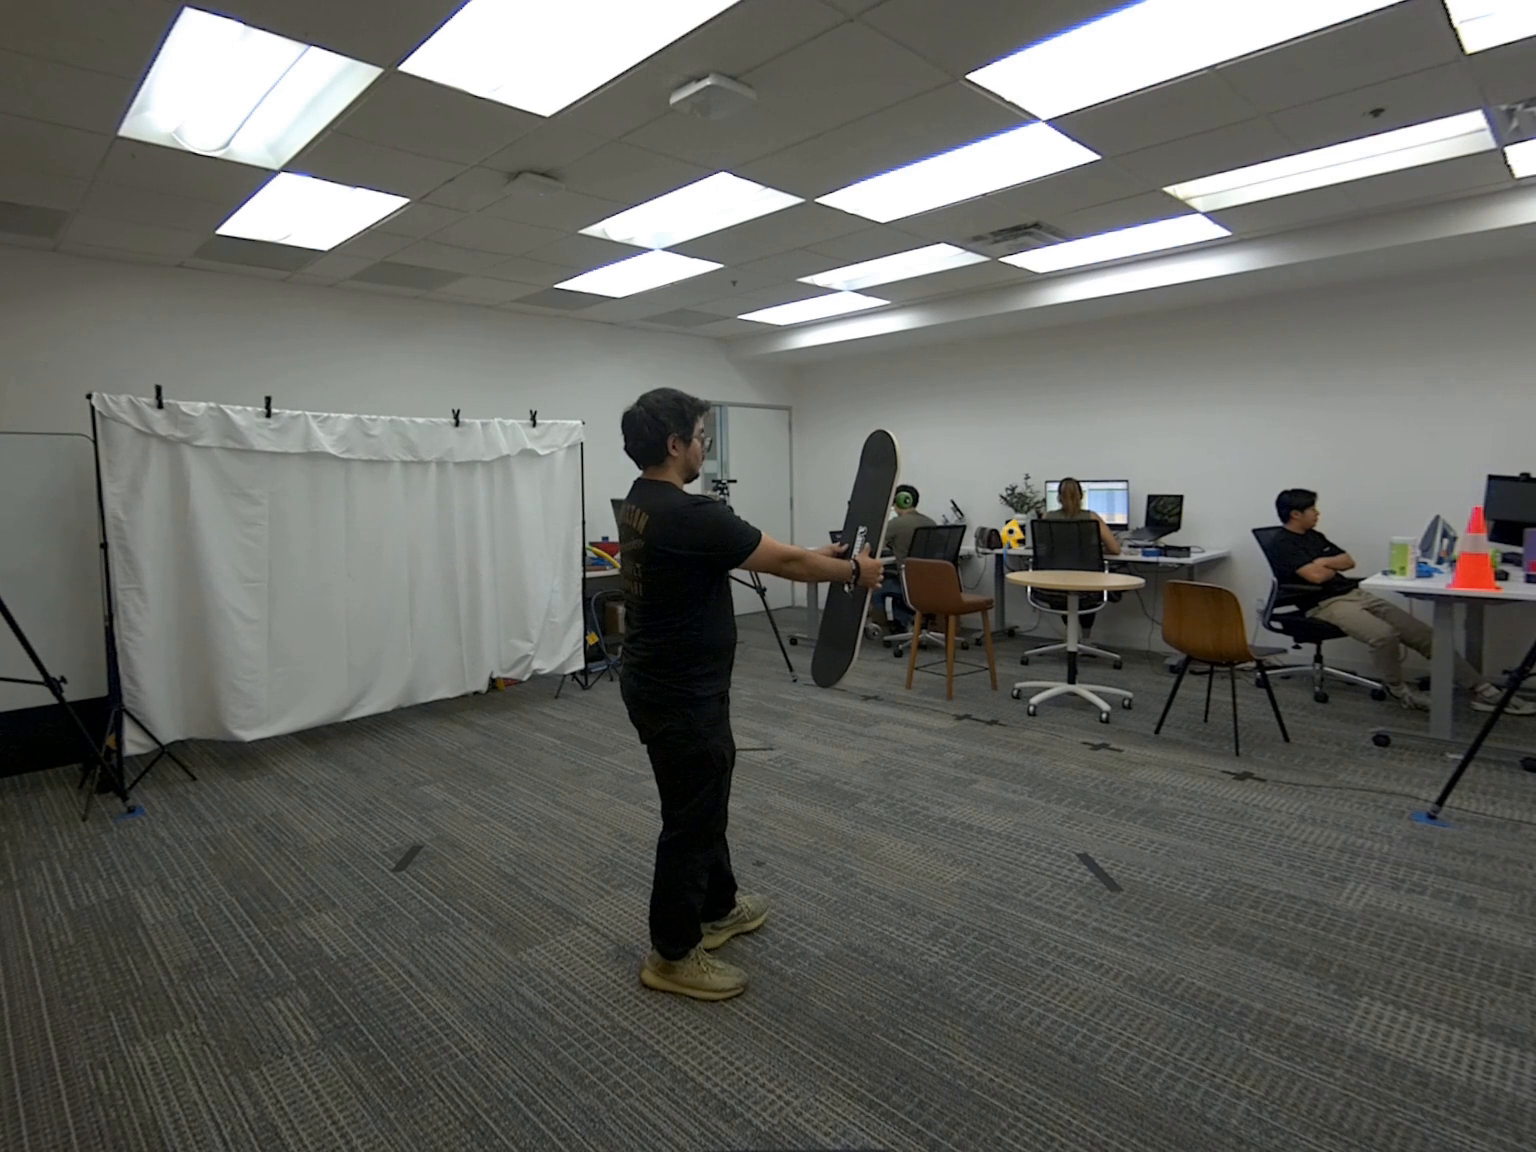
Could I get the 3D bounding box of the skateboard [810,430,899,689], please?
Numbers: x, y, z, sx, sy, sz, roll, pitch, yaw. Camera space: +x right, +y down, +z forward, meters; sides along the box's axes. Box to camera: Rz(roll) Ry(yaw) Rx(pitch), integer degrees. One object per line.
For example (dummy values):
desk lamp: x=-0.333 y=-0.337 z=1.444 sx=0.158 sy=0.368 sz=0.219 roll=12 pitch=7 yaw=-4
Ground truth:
skateboard: x=0.292 y=-0.042 z=2.561 sx=0.107 sy=0.786 sz=0.199 roll=13 pitch=-1 yaw=-31
